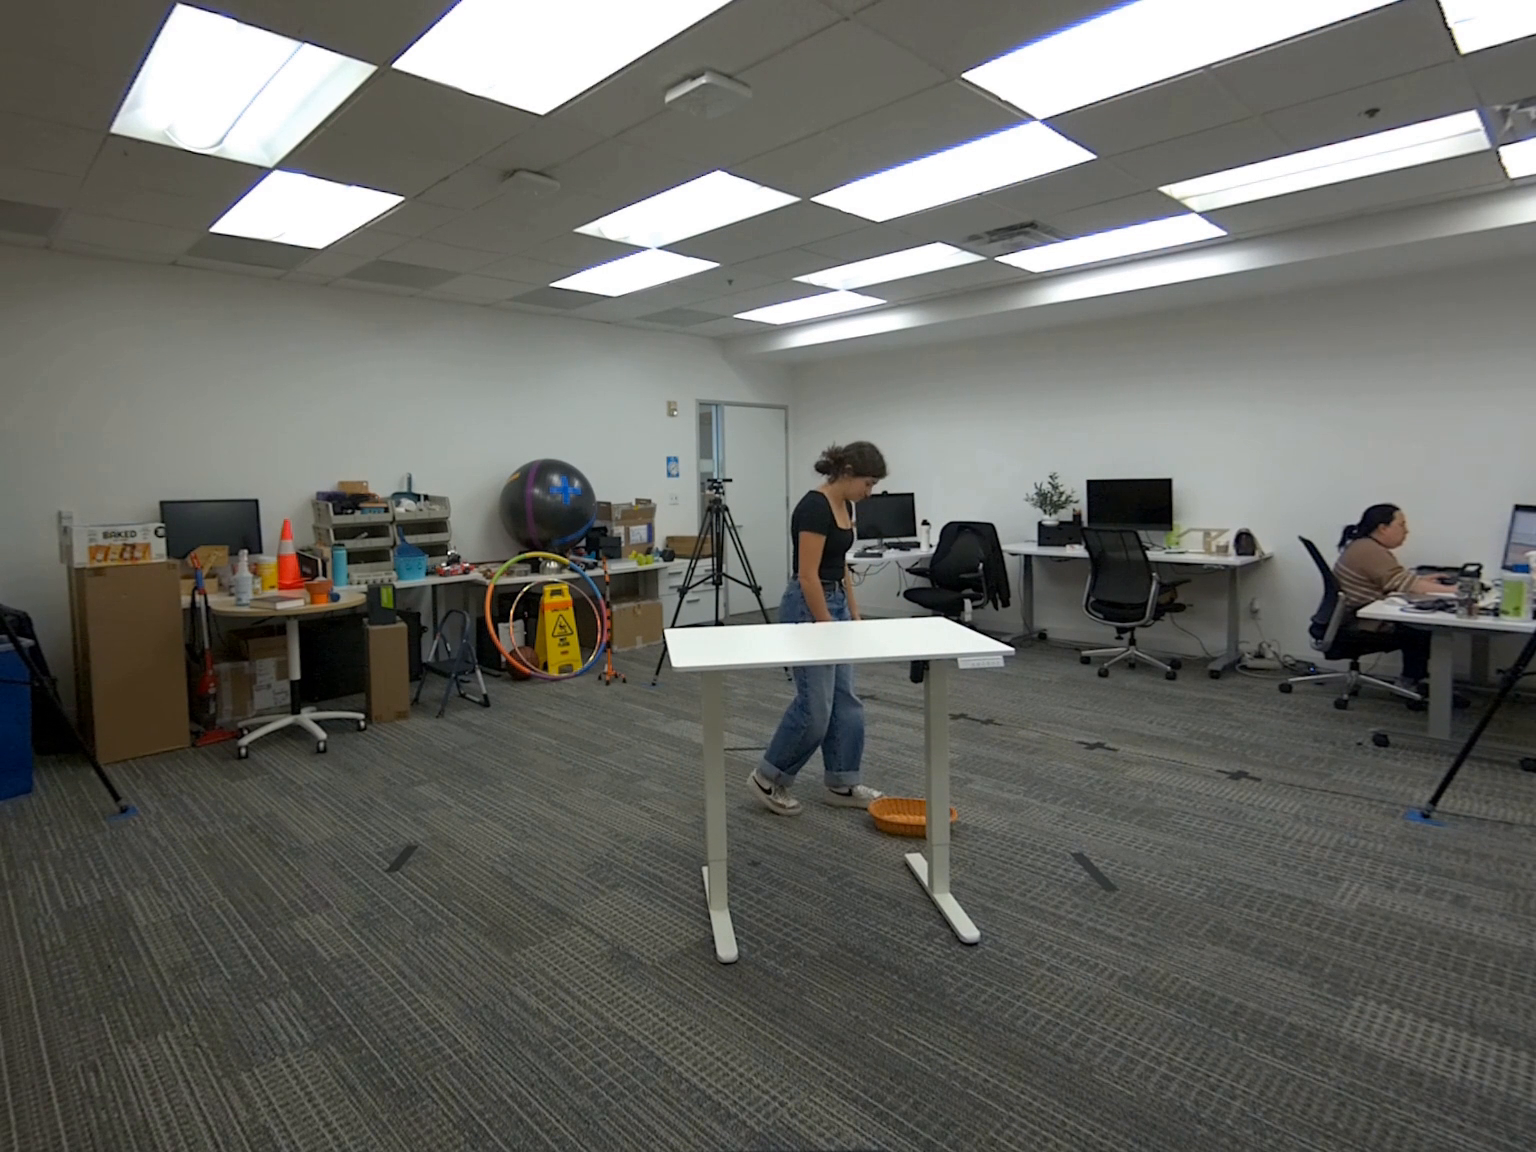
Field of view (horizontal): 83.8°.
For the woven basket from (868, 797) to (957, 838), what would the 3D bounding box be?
[{"bbox_3d":[0.571,0.961,3.403,0.357,0.073,0.249,1,8,18],"label":"woven basket"}]
